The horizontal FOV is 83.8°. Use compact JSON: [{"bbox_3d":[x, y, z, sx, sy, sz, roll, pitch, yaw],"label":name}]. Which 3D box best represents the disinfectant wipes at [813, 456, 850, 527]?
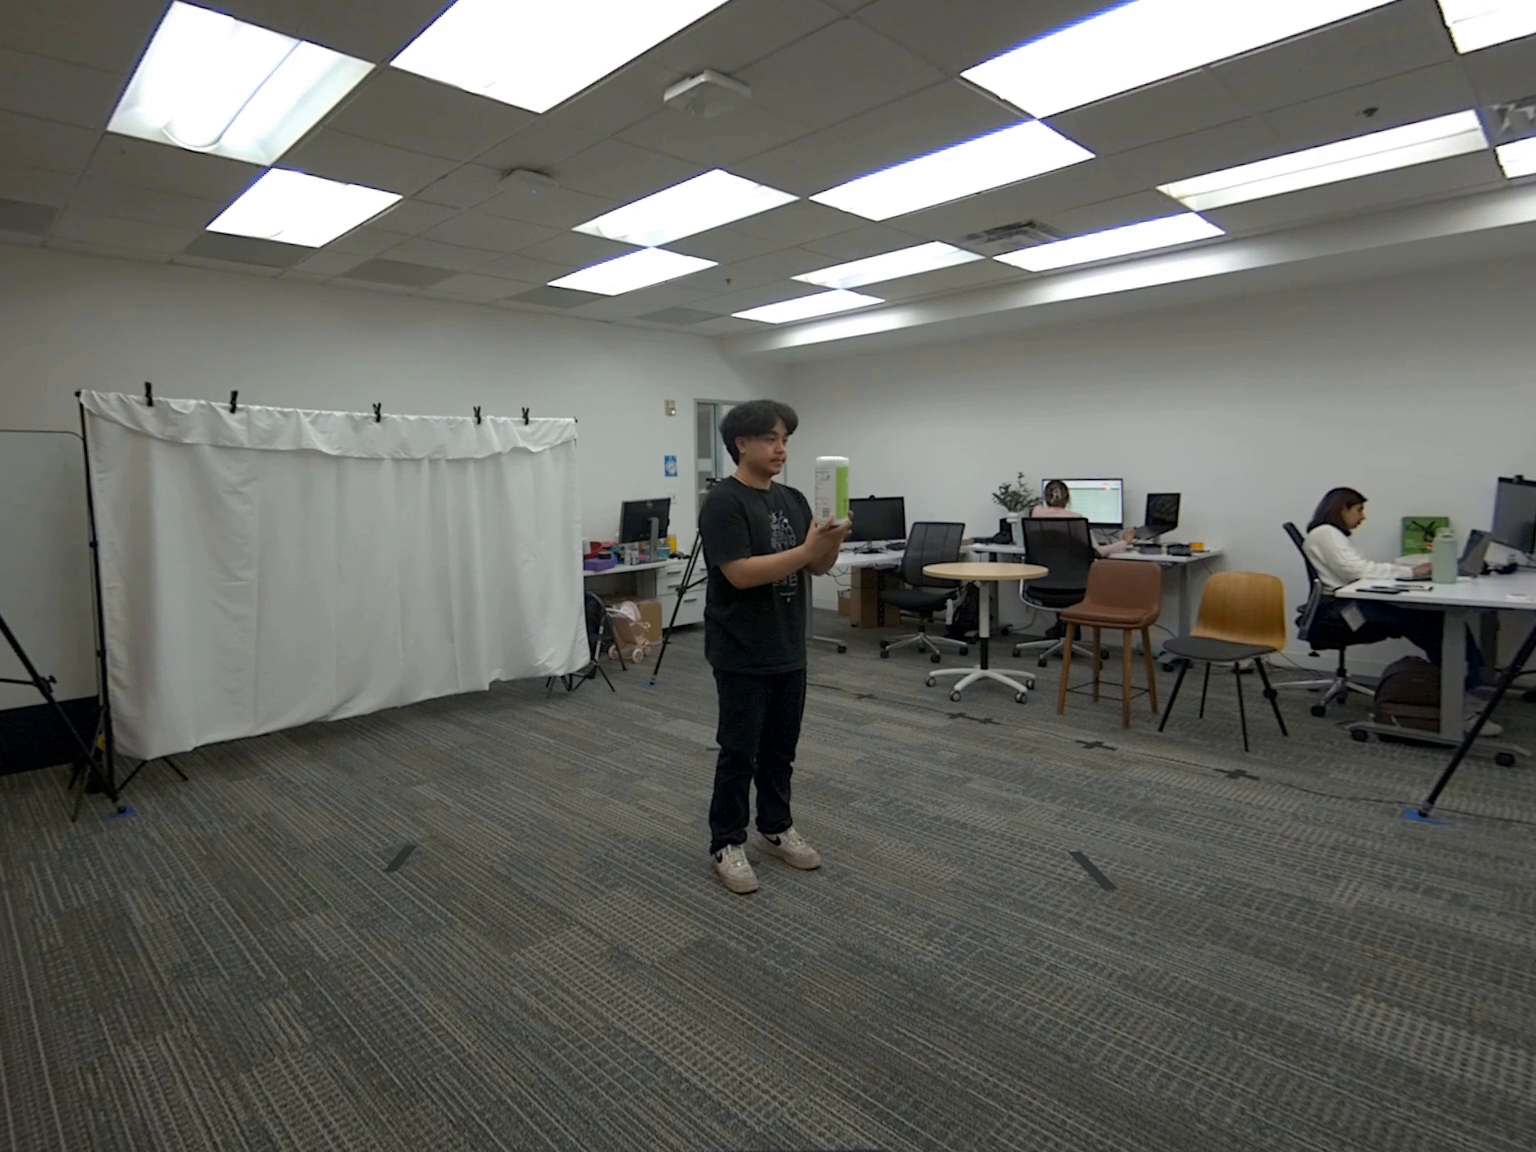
[{"bbox_3d":[0.205,-0.274,2.750,0.118,0.216,0.118,0,6,-2],"label":"disinfectant wipes"}]
